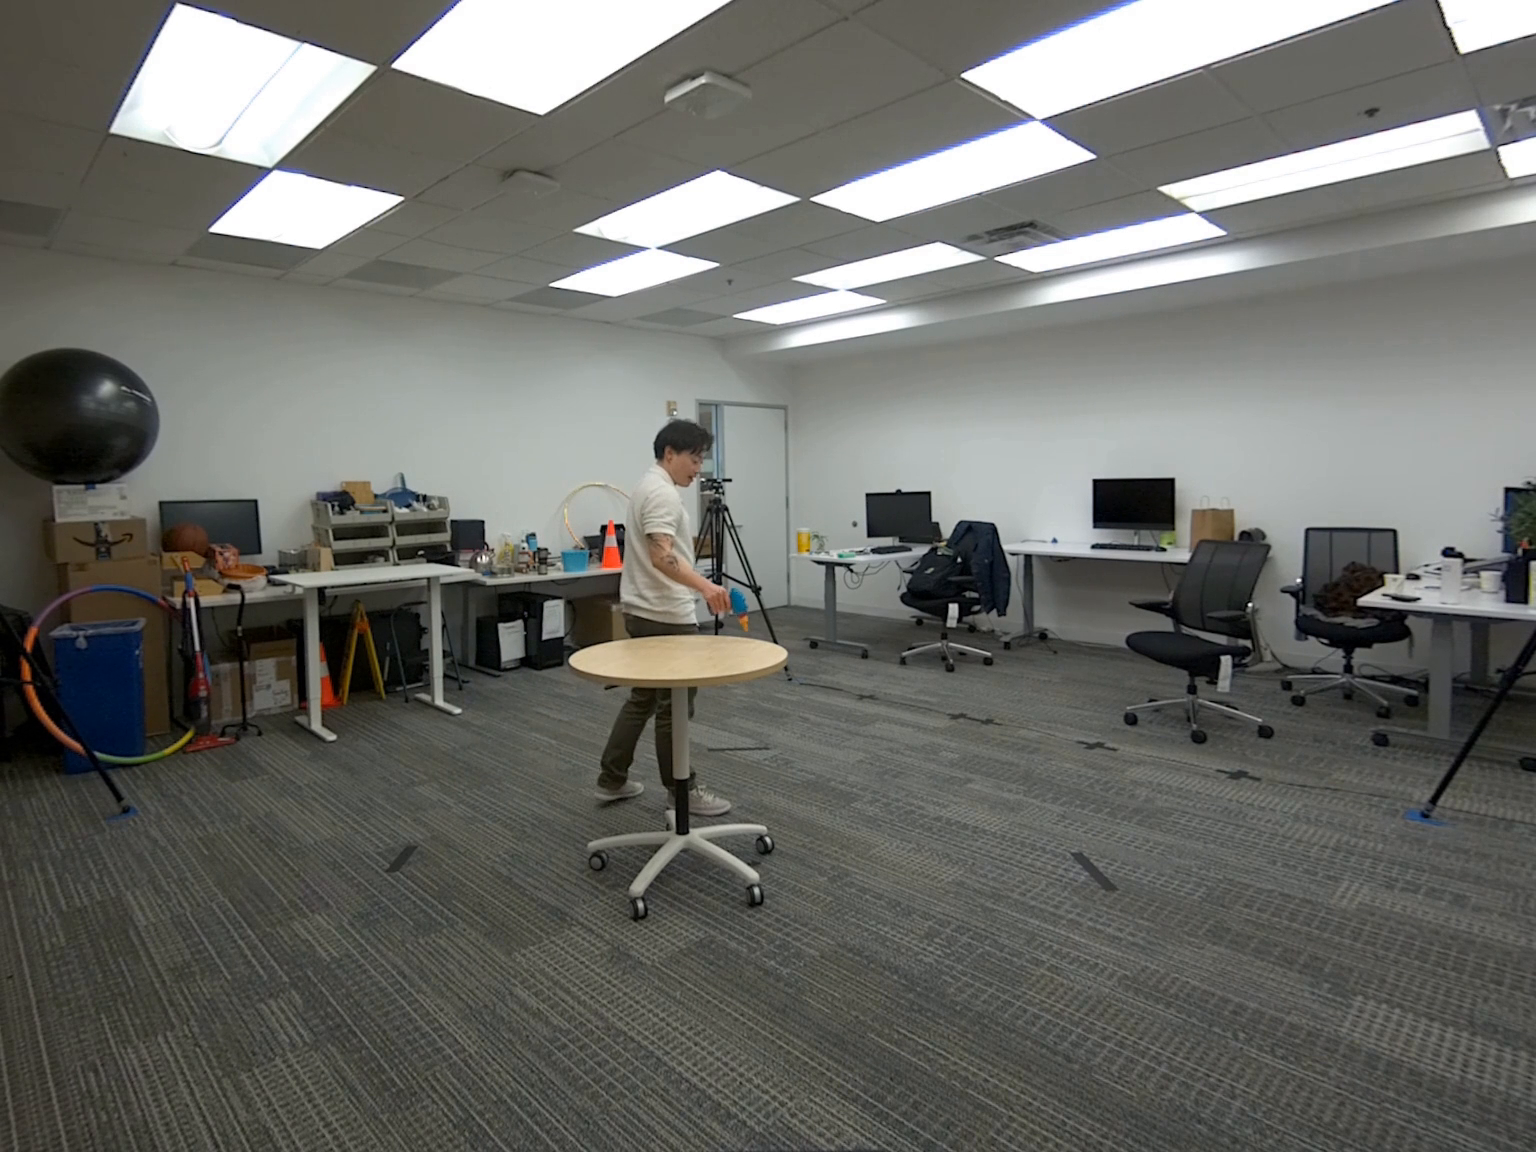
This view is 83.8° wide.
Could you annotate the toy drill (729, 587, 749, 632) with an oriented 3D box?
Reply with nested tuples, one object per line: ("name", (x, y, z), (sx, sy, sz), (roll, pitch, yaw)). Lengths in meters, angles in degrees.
("toy drill", (-0.143, 0.136, 3.188), (0.147, 0.169, 0.061), (-16, 5, 16))
